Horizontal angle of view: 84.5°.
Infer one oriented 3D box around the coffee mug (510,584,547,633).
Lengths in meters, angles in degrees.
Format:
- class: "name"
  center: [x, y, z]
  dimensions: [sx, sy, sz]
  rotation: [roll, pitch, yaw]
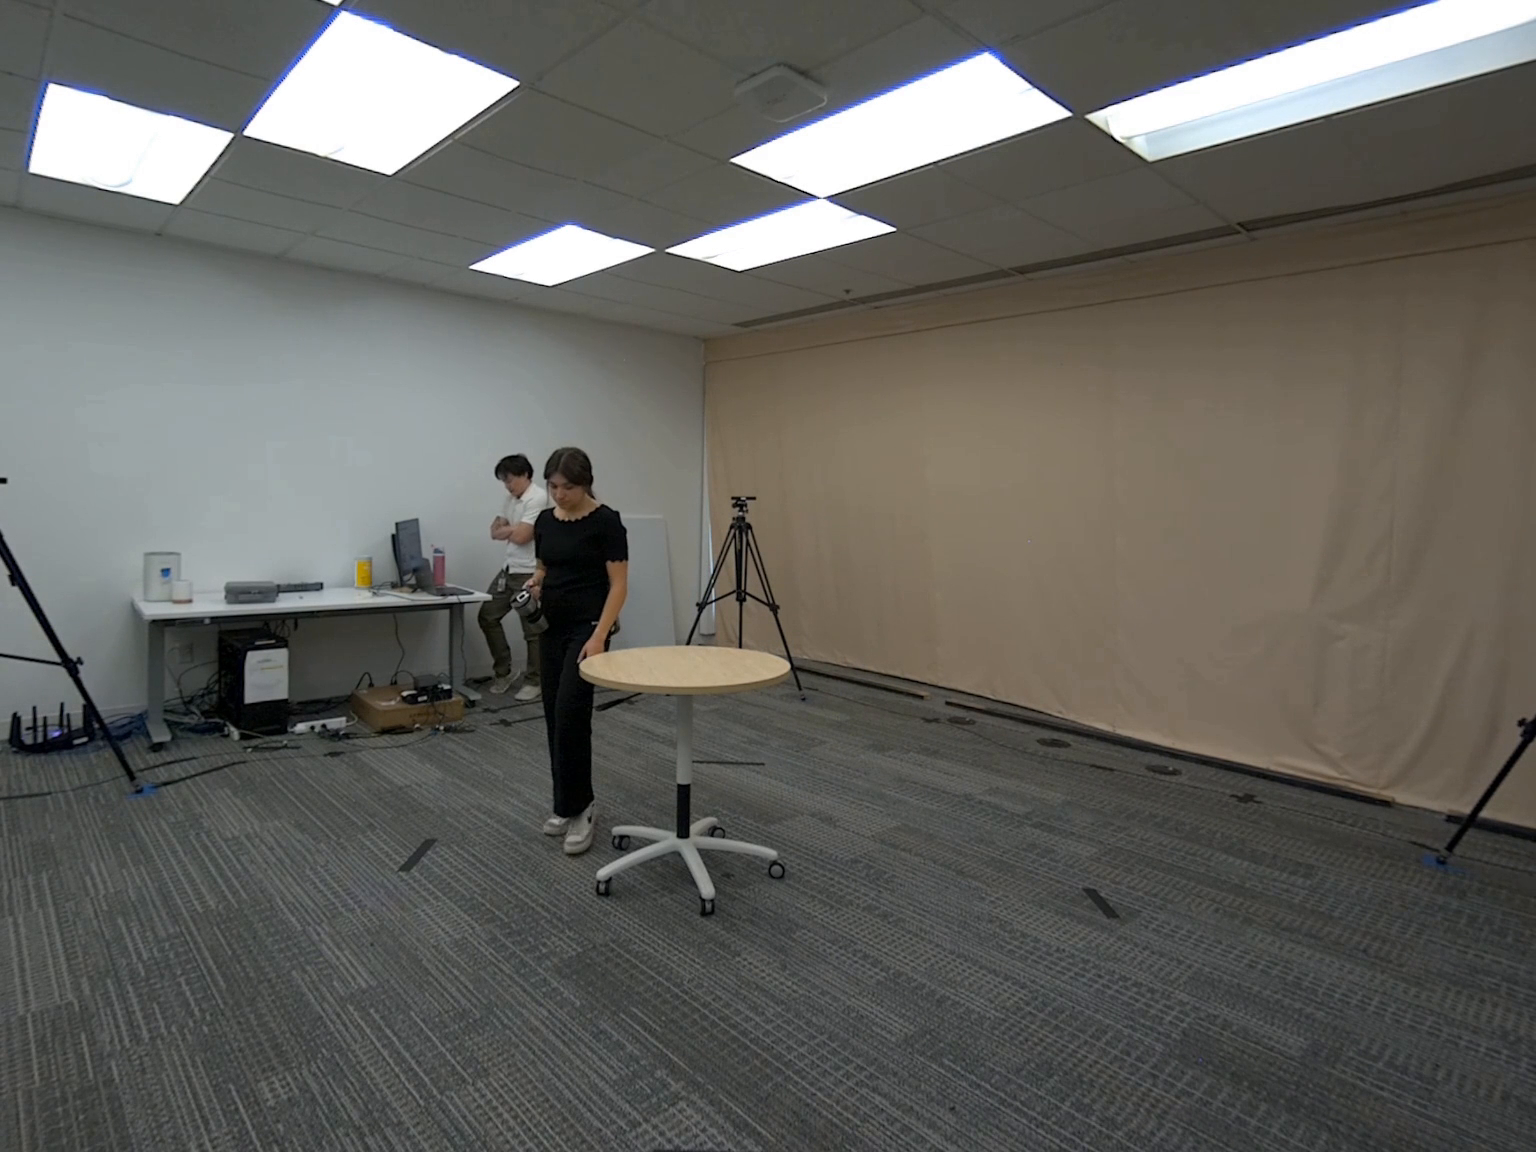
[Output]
- class: "coffee mug"
  center: [-0.941, 0.133, 3.347]
  dimensions: [0.090, 0.122, 0.197]
  rotation: [15, -31, 36]
